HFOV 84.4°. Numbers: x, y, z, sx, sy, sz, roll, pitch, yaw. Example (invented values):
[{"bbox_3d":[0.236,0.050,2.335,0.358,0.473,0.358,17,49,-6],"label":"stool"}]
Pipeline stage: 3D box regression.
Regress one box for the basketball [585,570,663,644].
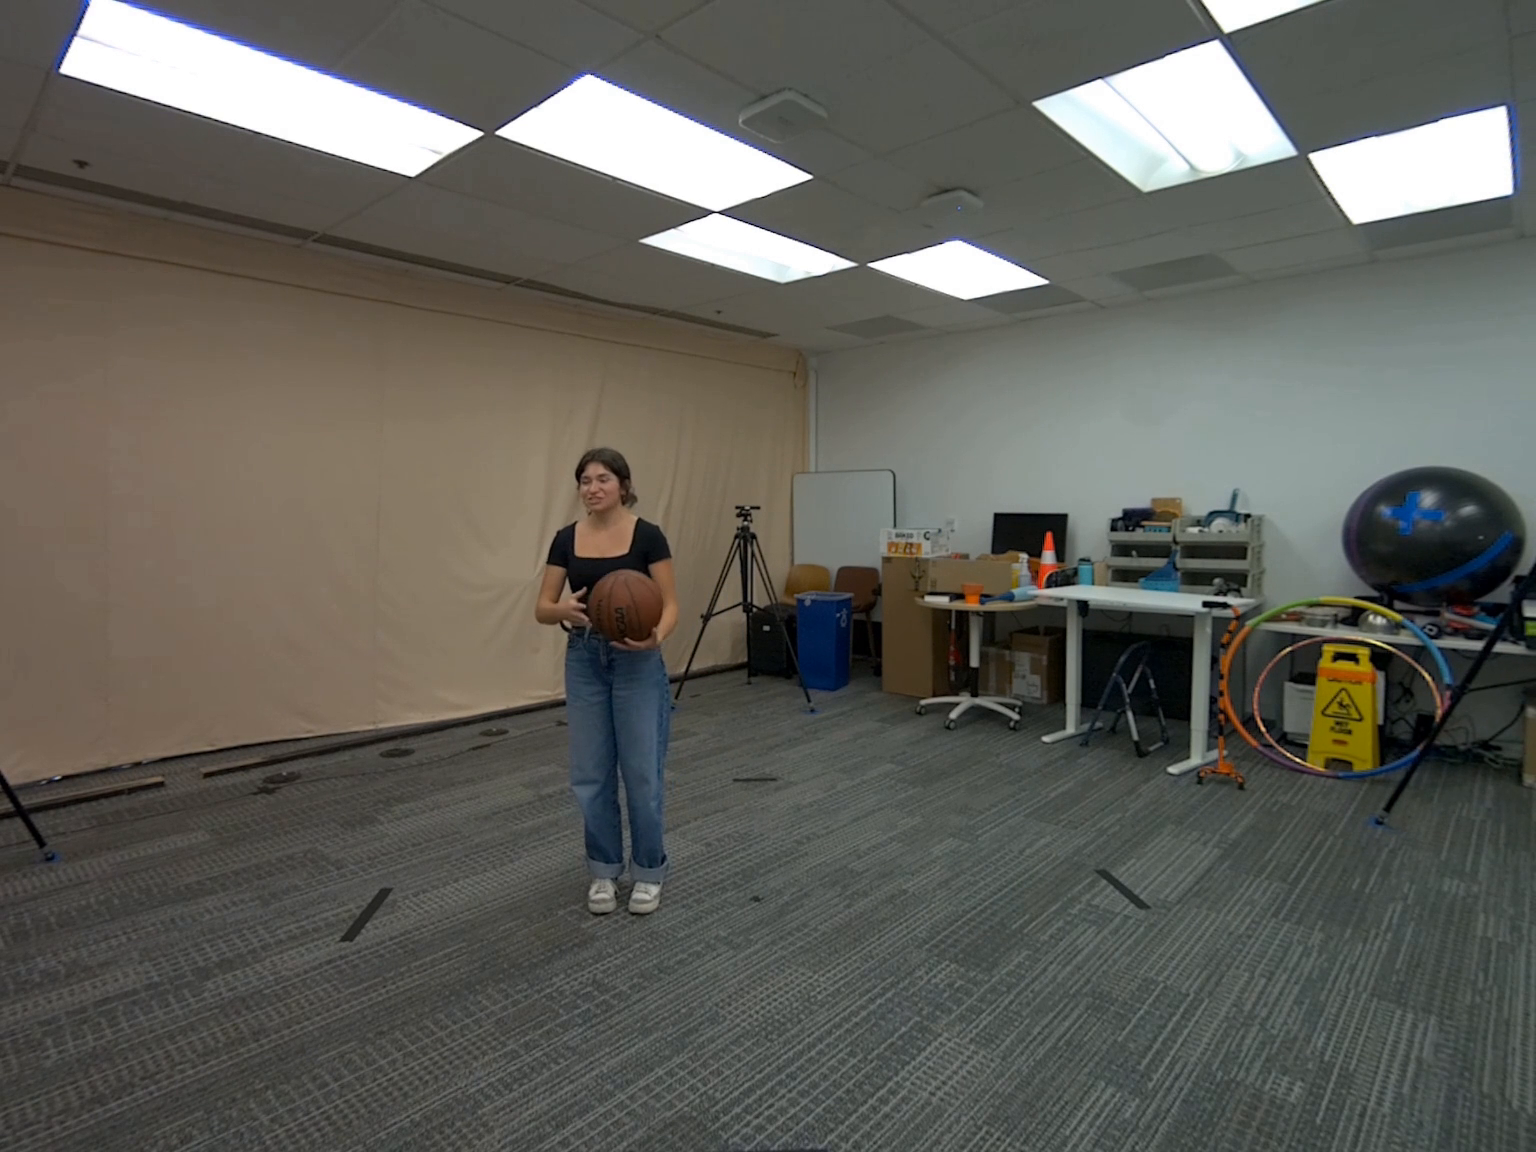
[{"bbox_3d":[-0.461,0.100,2.698,0.236,0.235,0.237,0,4,-2],"label":"basketball"}]
